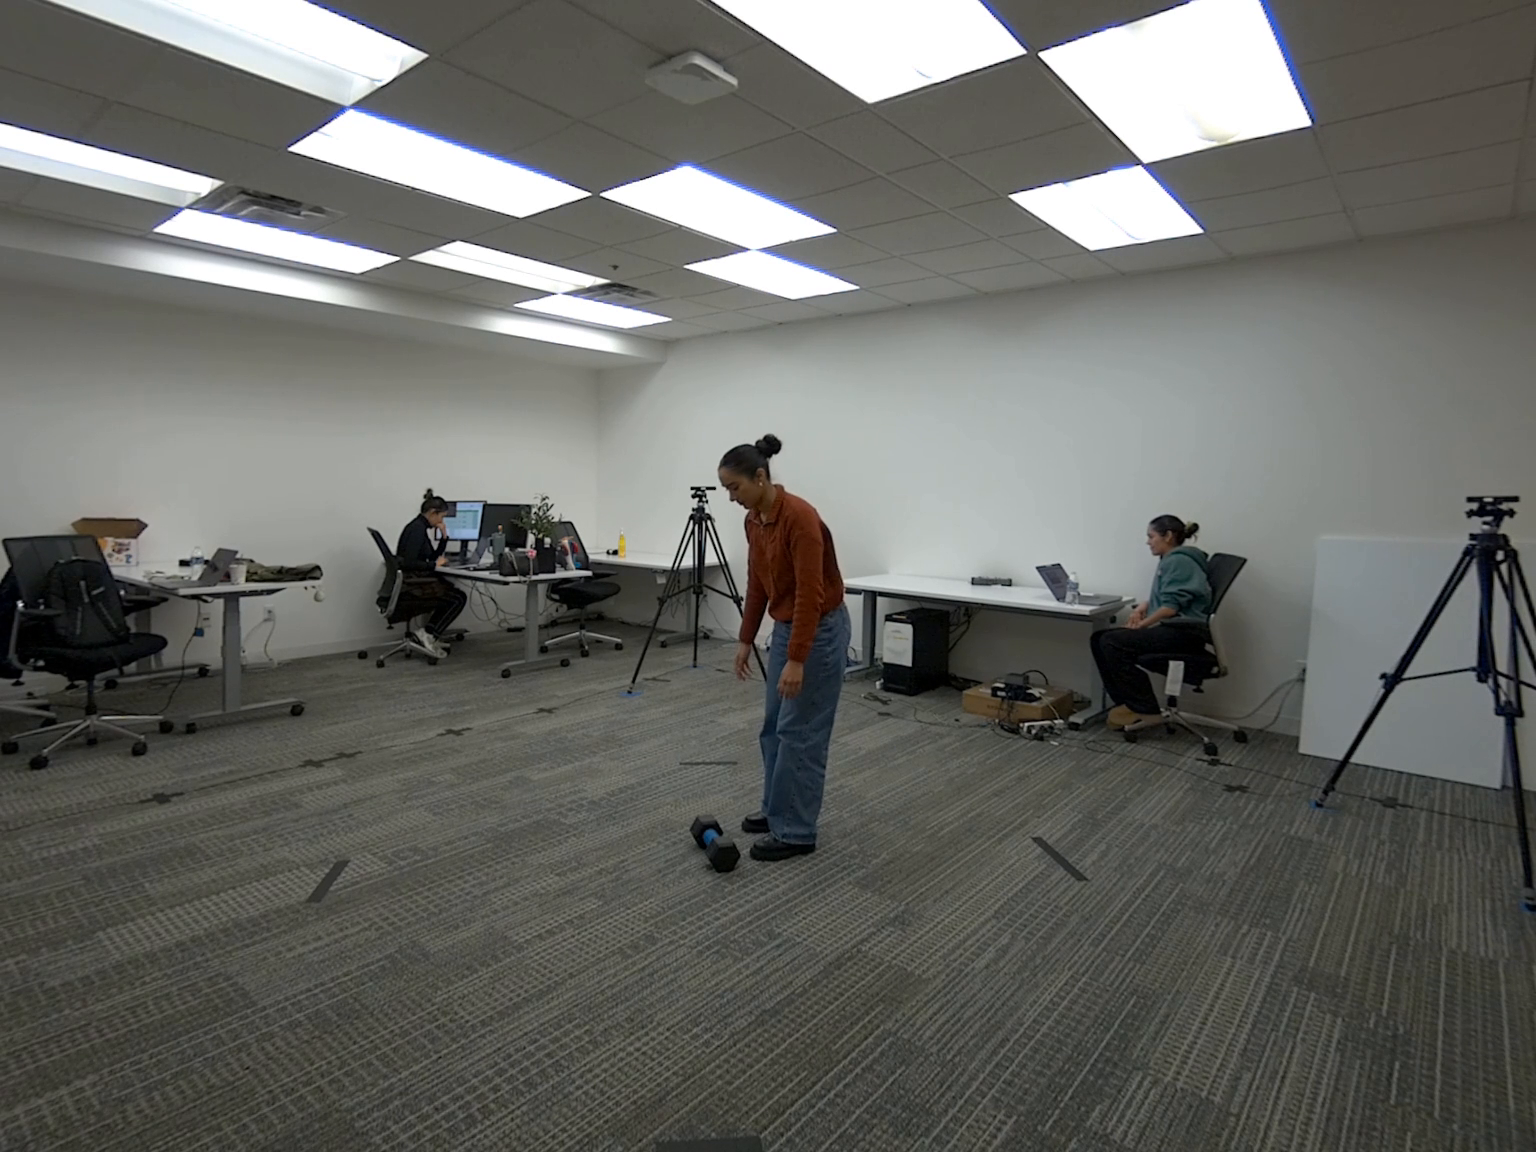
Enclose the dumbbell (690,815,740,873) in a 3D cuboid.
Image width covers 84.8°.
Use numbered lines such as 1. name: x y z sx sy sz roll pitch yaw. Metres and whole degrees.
1. dumbbell: -0.212 1.000 3.203 0.106 0.123 0.300 31 -5 -19
